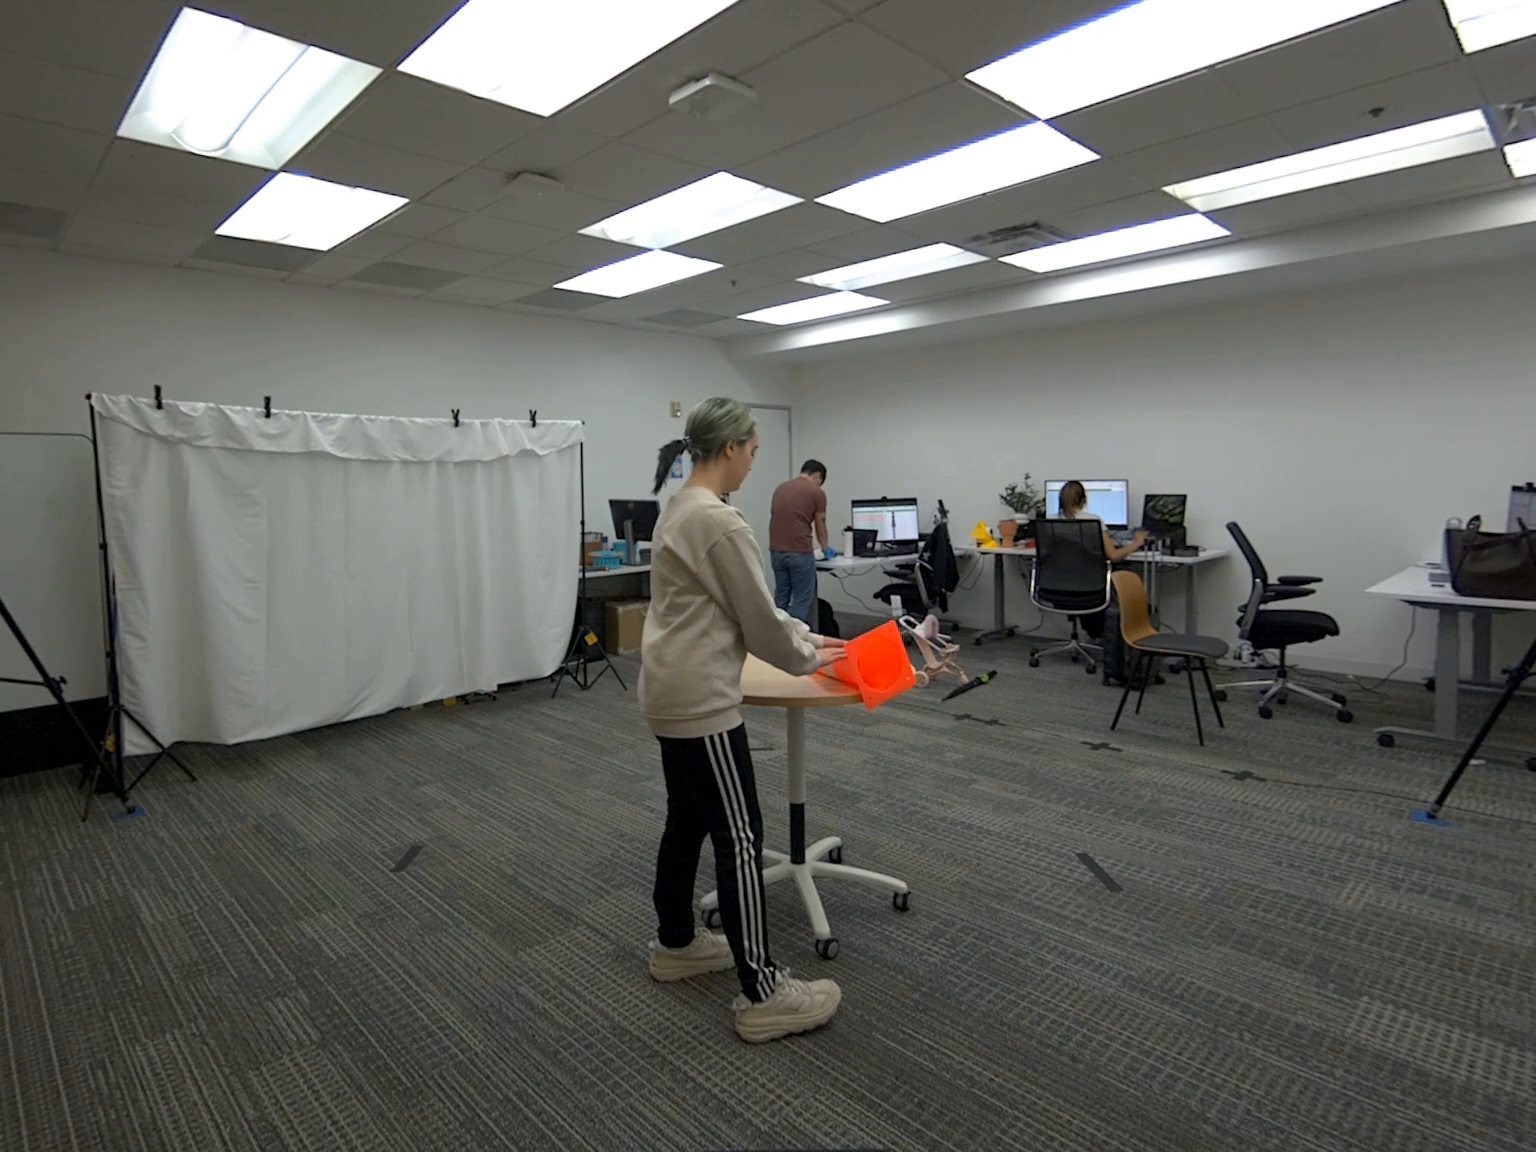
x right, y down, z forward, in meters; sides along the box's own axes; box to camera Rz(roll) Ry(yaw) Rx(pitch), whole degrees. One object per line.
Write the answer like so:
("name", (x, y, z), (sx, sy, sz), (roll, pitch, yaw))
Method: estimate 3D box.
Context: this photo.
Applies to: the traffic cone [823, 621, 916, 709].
("traffic cone", (0.232, 0.269, 2.591), (0.200, 0.204, 0.391), (-20, 5, -32))
